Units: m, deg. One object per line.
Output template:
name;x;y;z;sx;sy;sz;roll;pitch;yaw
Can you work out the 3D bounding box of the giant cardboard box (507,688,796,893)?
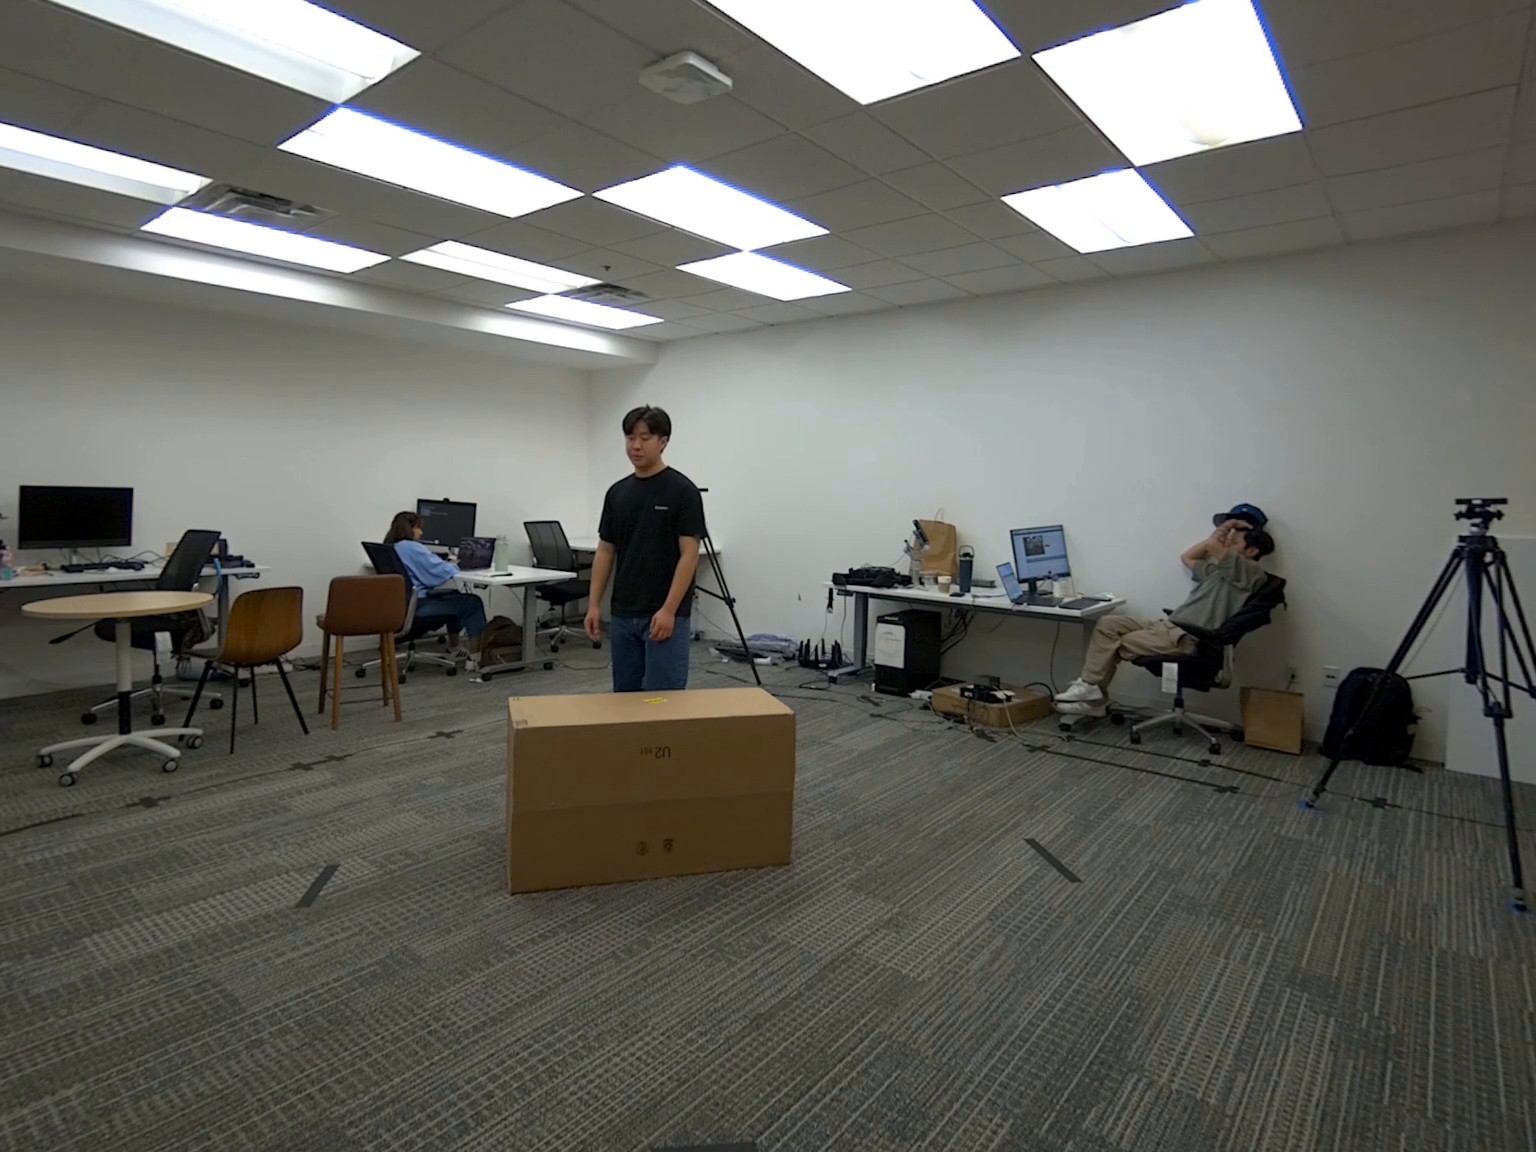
giant cardboard box;-0.462;0.766;3.210;1.009;0.583;0.456;0;3;-18
